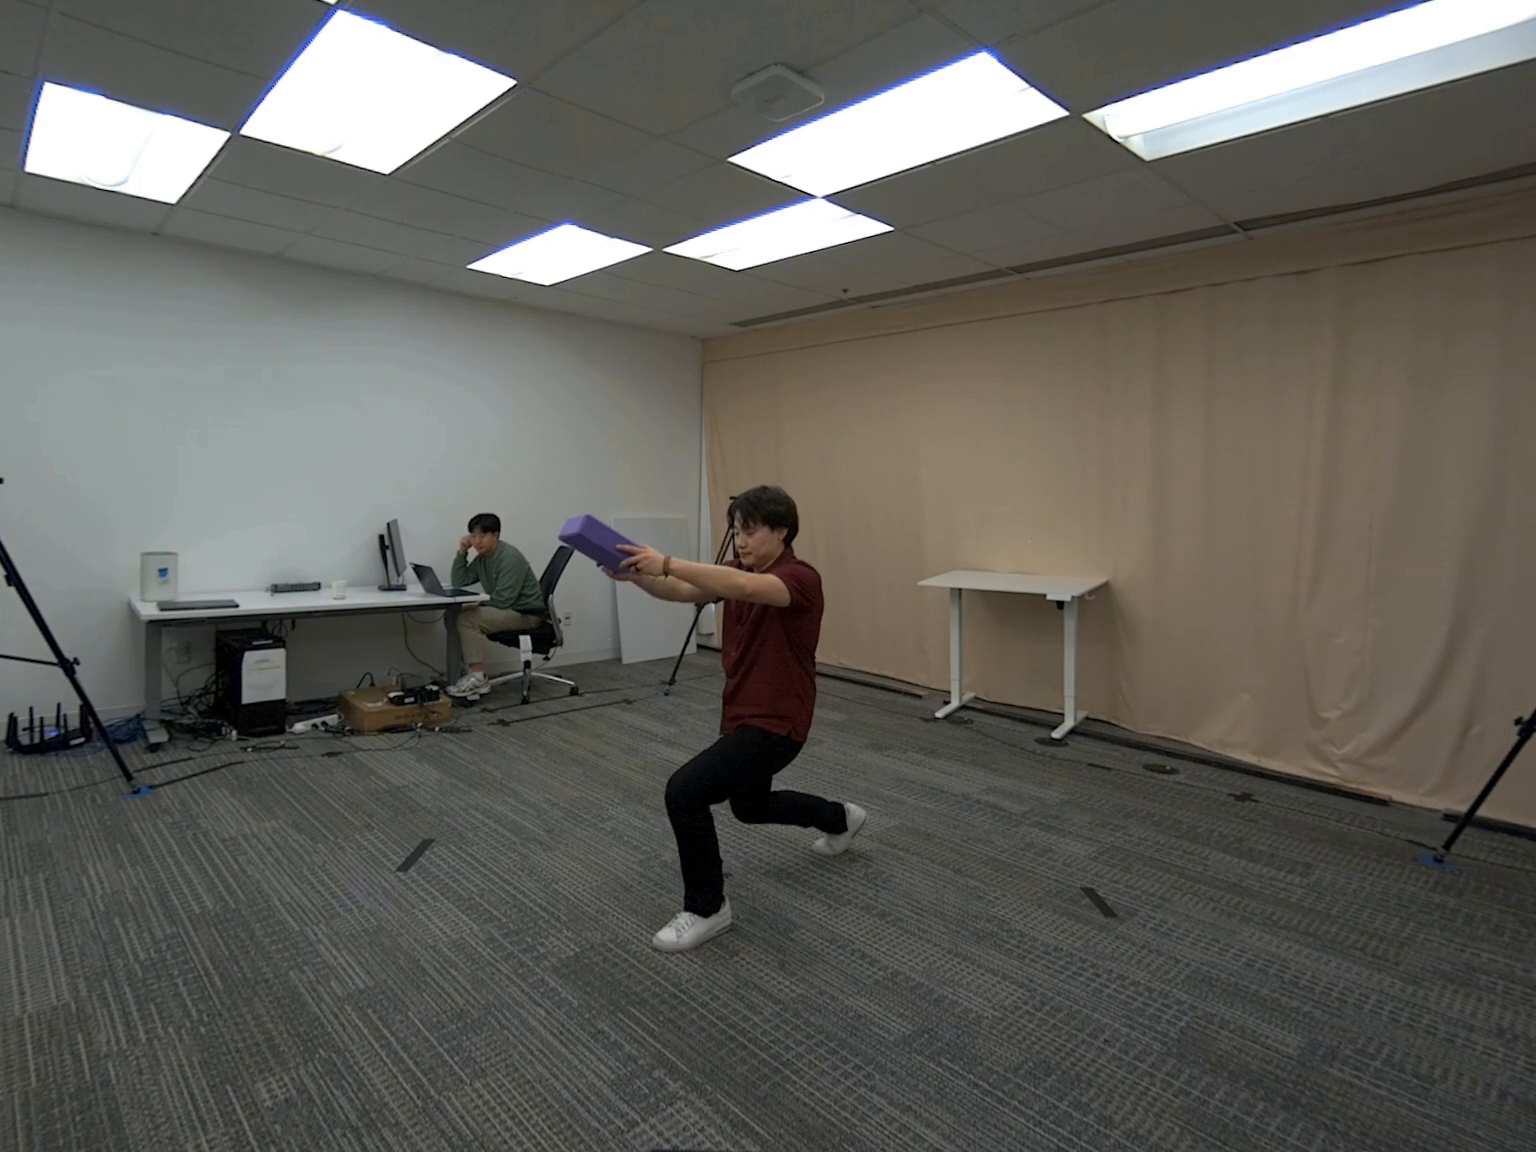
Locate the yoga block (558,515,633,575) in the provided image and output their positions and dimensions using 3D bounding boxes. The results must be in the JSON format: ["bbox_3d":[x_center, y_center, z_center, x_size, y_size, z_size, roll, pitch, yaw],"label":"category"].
[{"bbox_3d":[-0.493,-0.086,2.508,0.223,0.077,0.152,35,-23,-30],"label":"yoga block"}]
